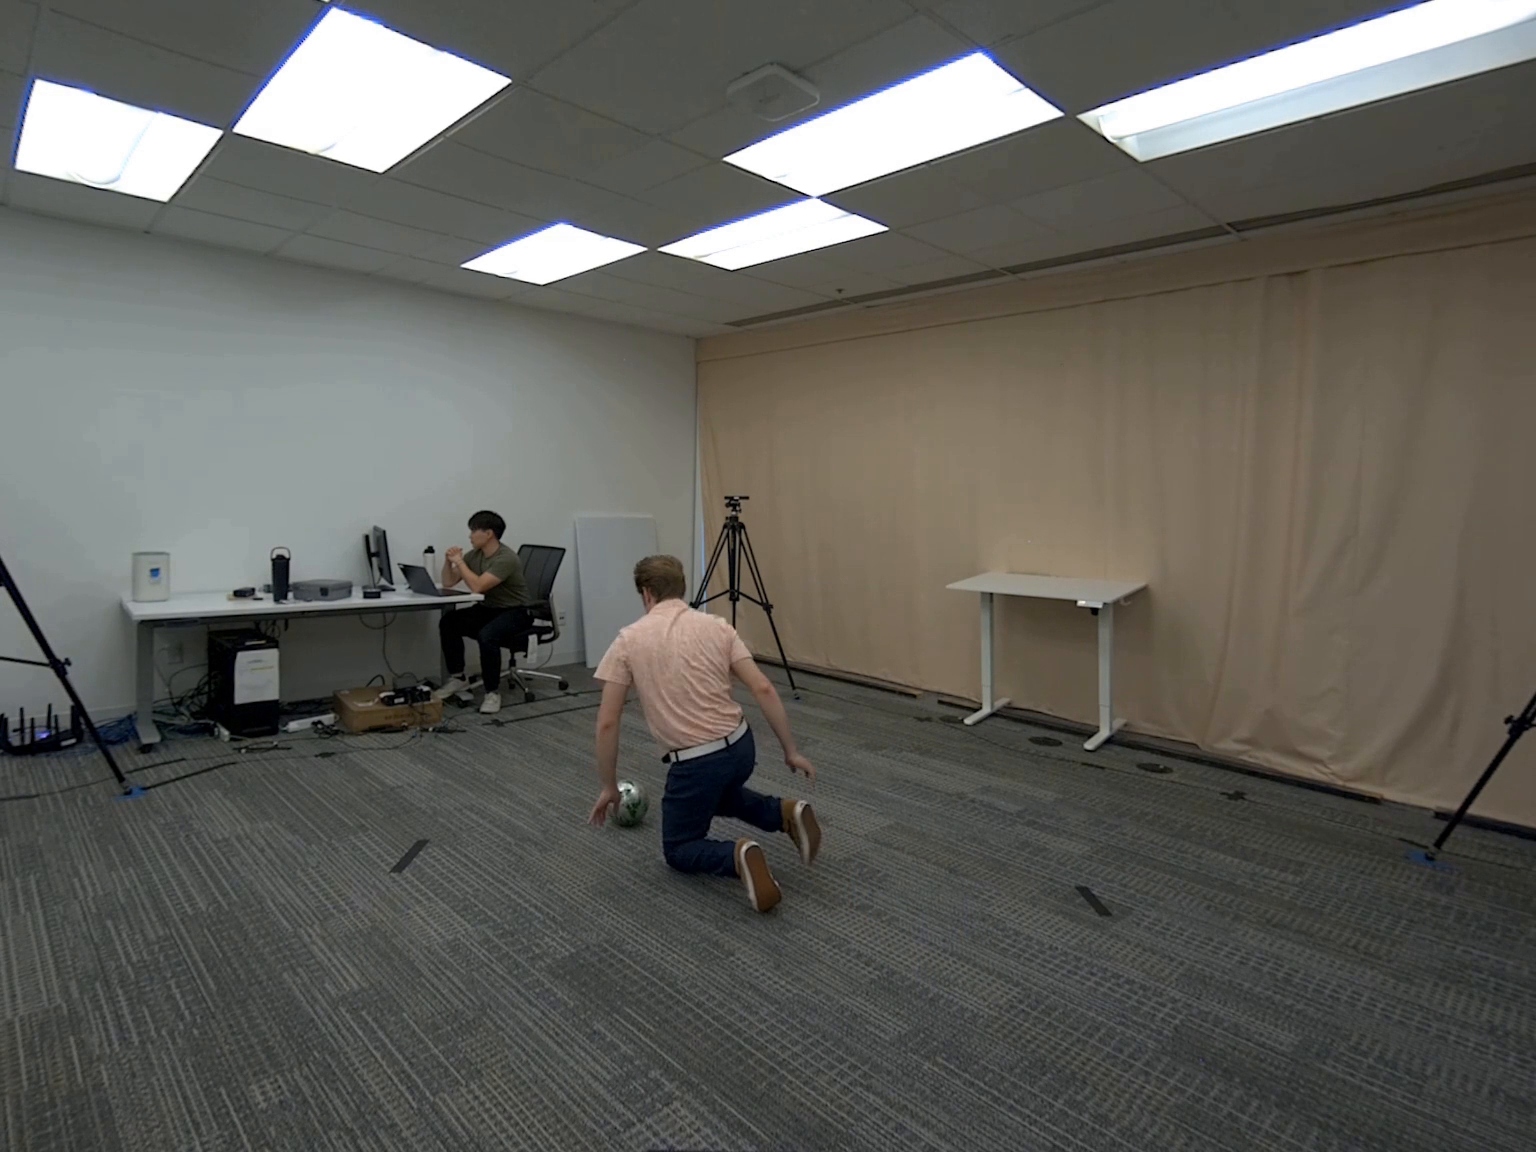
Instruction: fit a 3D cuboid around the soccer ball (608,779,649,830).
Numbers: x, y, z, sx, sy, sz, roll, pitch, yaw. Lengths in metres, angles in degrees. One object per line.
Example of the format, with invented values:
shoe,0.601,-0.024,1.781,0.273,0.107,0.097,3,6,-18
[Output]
soccer ball,-0.605,0.967,3.569,0.187,0.187,0.188,1,4,-1
